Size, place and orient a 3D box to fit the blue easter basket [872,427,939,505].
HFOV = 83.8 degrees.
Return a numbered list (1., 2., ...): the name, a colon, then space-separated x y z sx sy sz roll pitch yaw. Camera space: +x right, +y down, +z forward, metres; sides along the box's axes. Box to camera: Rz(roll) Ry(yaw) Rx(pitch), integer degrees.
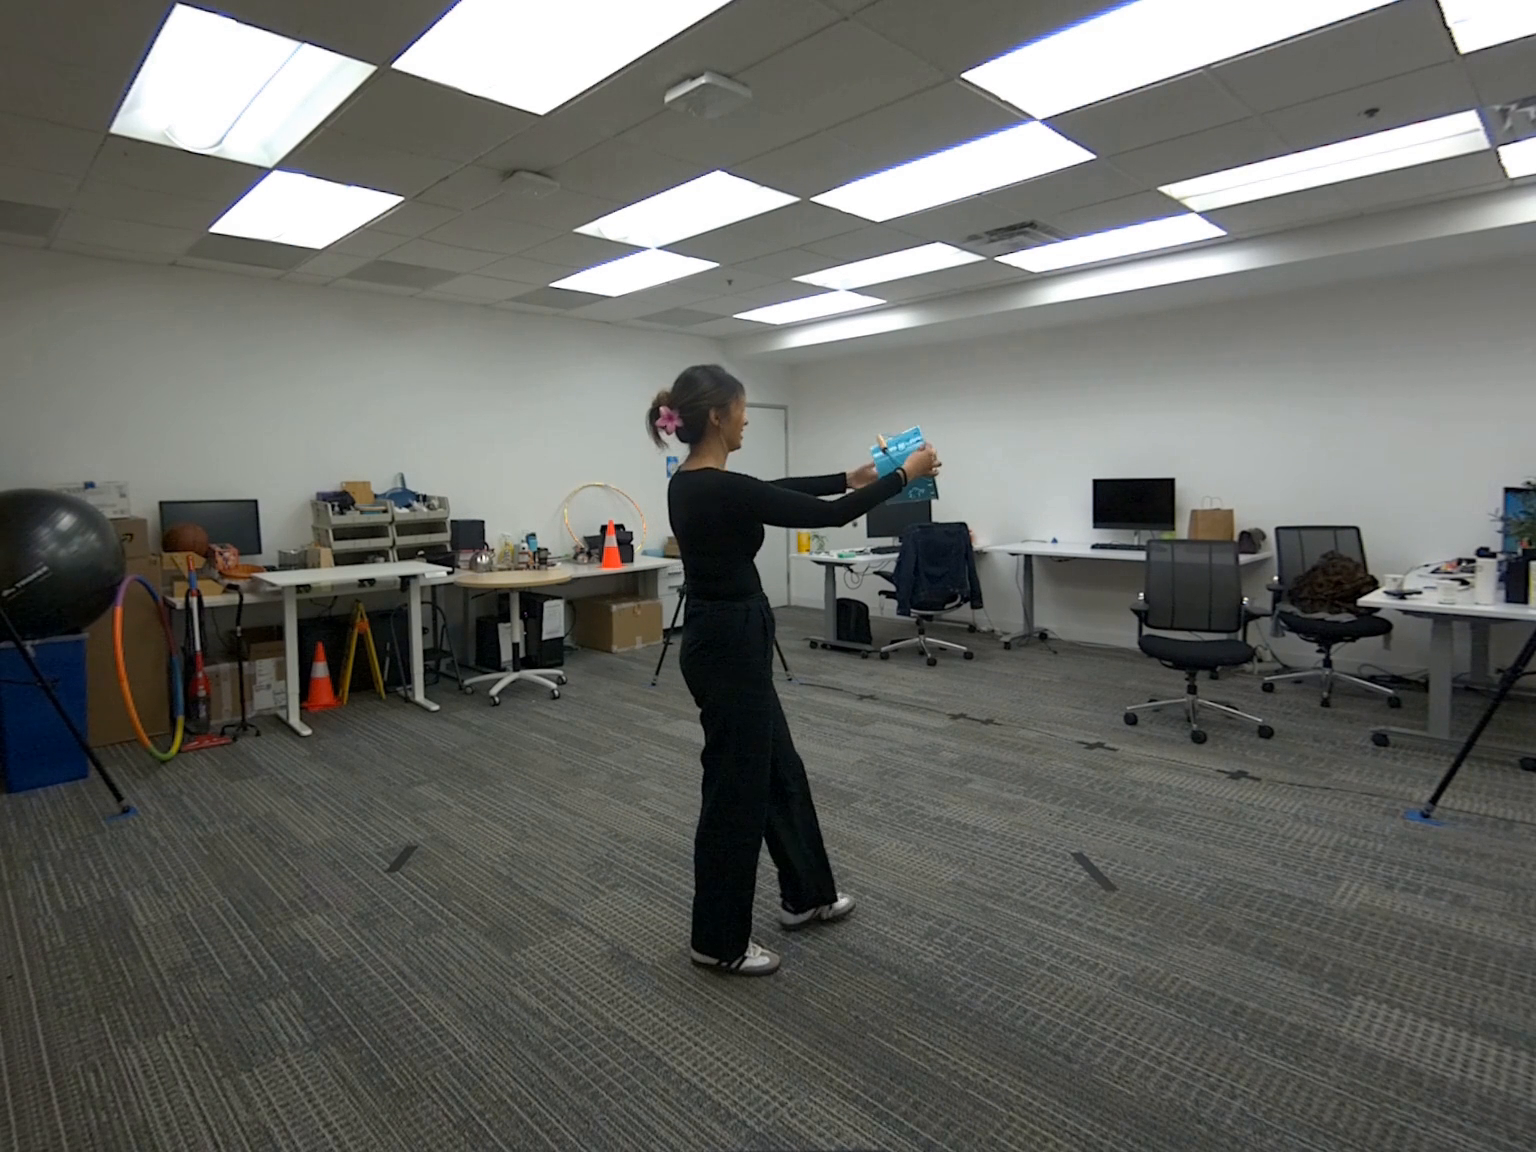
1. blue easter basket: 0.416 -0.326 2.565 0.157 0.243 0.242 -15 2 9
